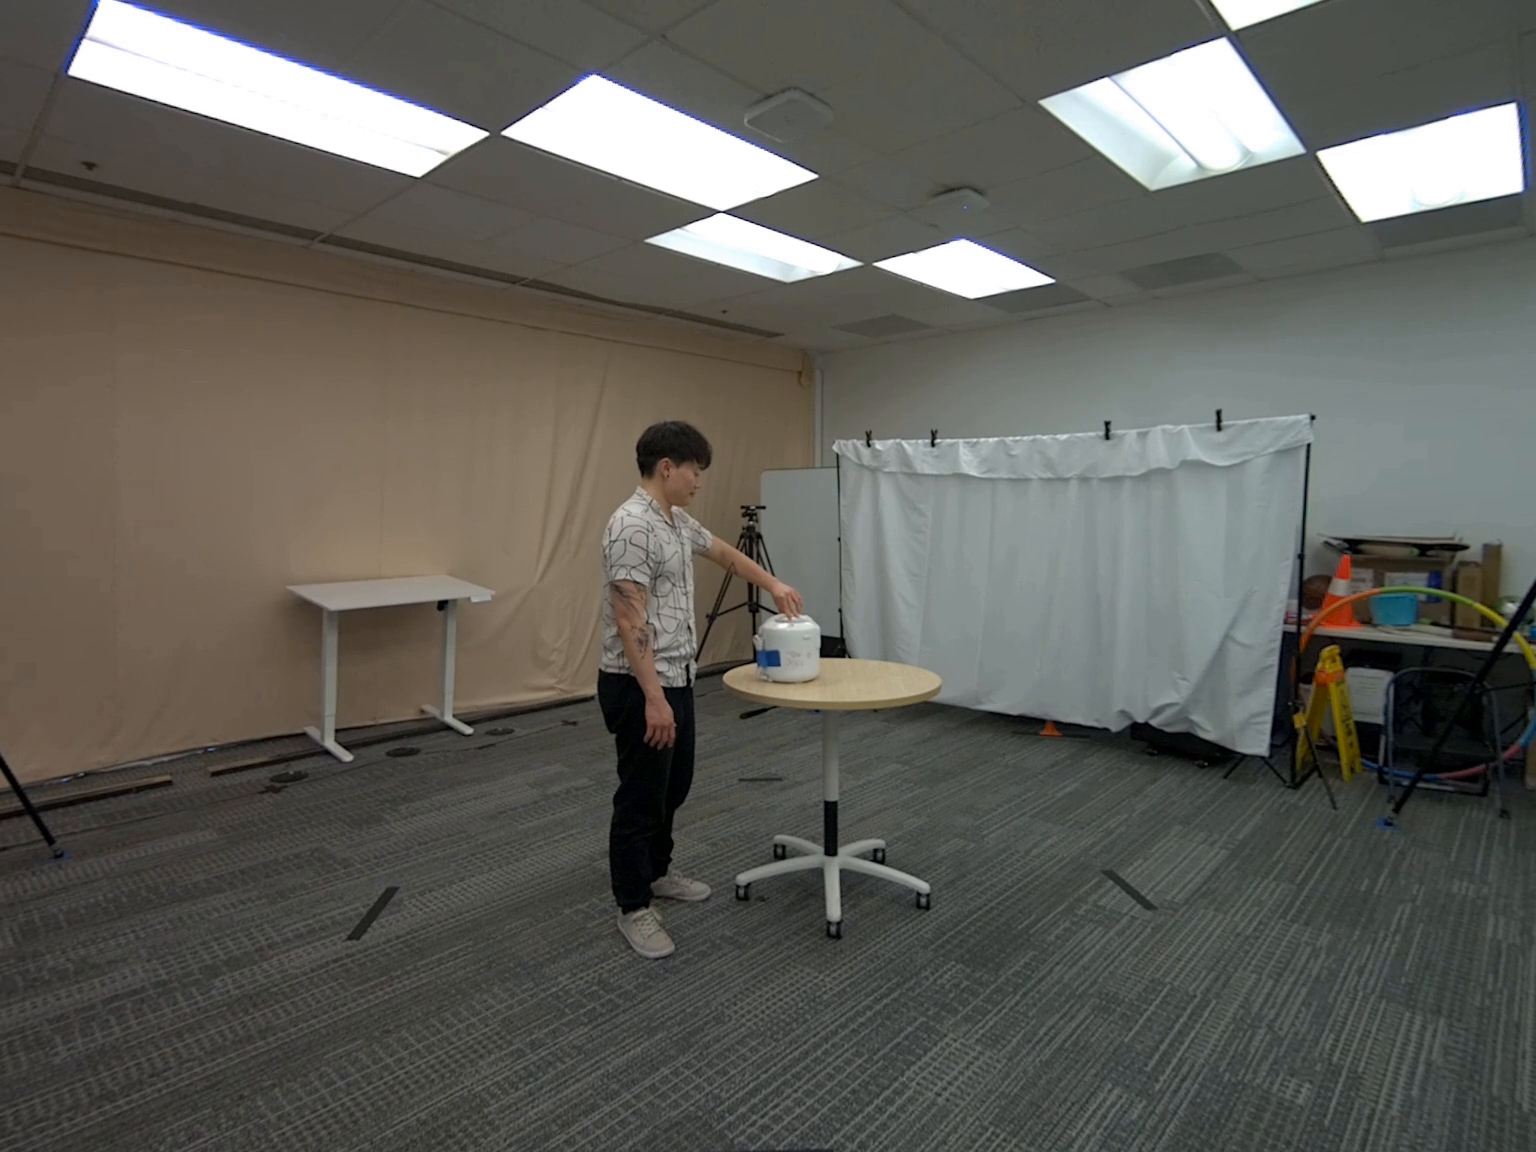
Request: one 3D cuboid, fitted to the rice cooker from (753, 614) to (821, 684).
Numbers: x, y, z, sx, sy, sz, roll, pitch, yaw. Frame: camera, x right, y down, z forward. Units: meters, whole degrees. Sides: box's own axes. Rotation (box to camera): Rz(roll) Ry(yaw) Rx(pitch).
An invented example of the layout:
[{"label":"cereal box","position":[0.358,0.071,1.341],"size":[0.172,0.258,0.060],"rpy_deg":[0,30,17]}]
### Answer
[{"label":"rice cooker","position":[0.081,0.245,2.972],"size":[0.225,0.232,0.213],"rpy_deg":[1,5,20]}]
